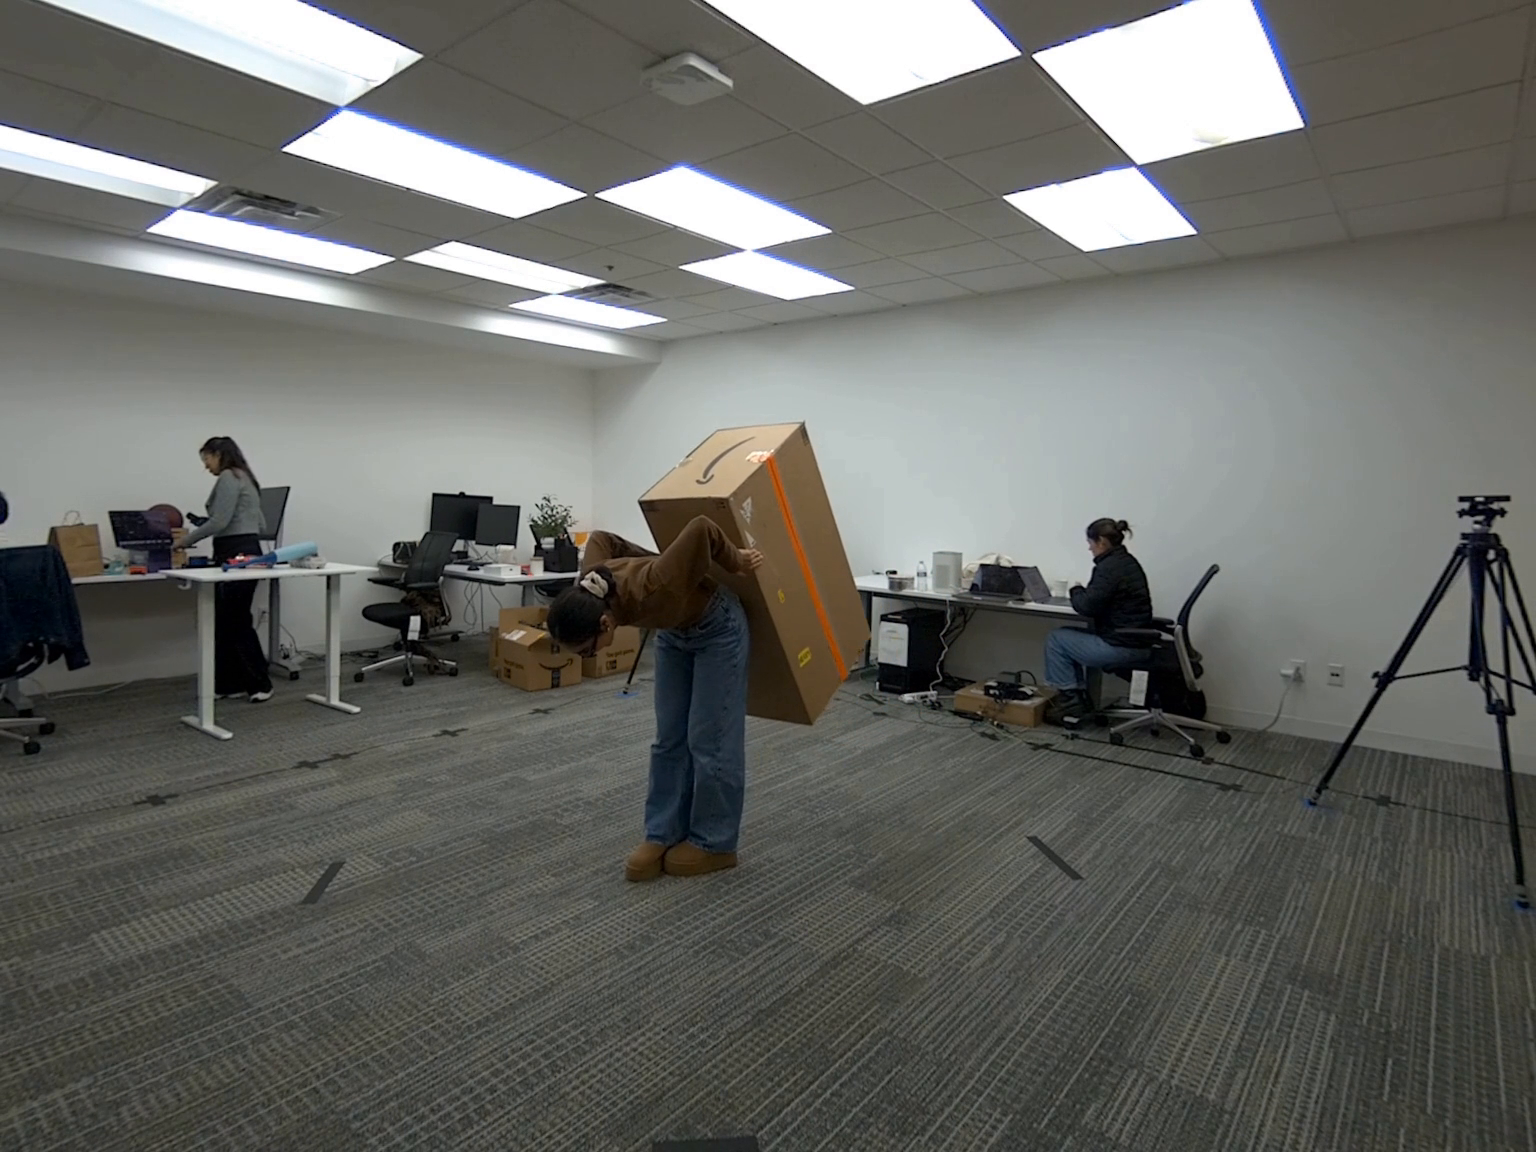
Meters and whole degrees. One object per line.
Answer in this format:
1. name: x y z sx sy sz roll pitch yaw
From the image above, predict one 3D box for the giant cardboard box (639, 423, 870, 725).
1. giant cardboard box: -0.024 -0.010 3.384 0.460 0.997 0.583 -1 32 36
